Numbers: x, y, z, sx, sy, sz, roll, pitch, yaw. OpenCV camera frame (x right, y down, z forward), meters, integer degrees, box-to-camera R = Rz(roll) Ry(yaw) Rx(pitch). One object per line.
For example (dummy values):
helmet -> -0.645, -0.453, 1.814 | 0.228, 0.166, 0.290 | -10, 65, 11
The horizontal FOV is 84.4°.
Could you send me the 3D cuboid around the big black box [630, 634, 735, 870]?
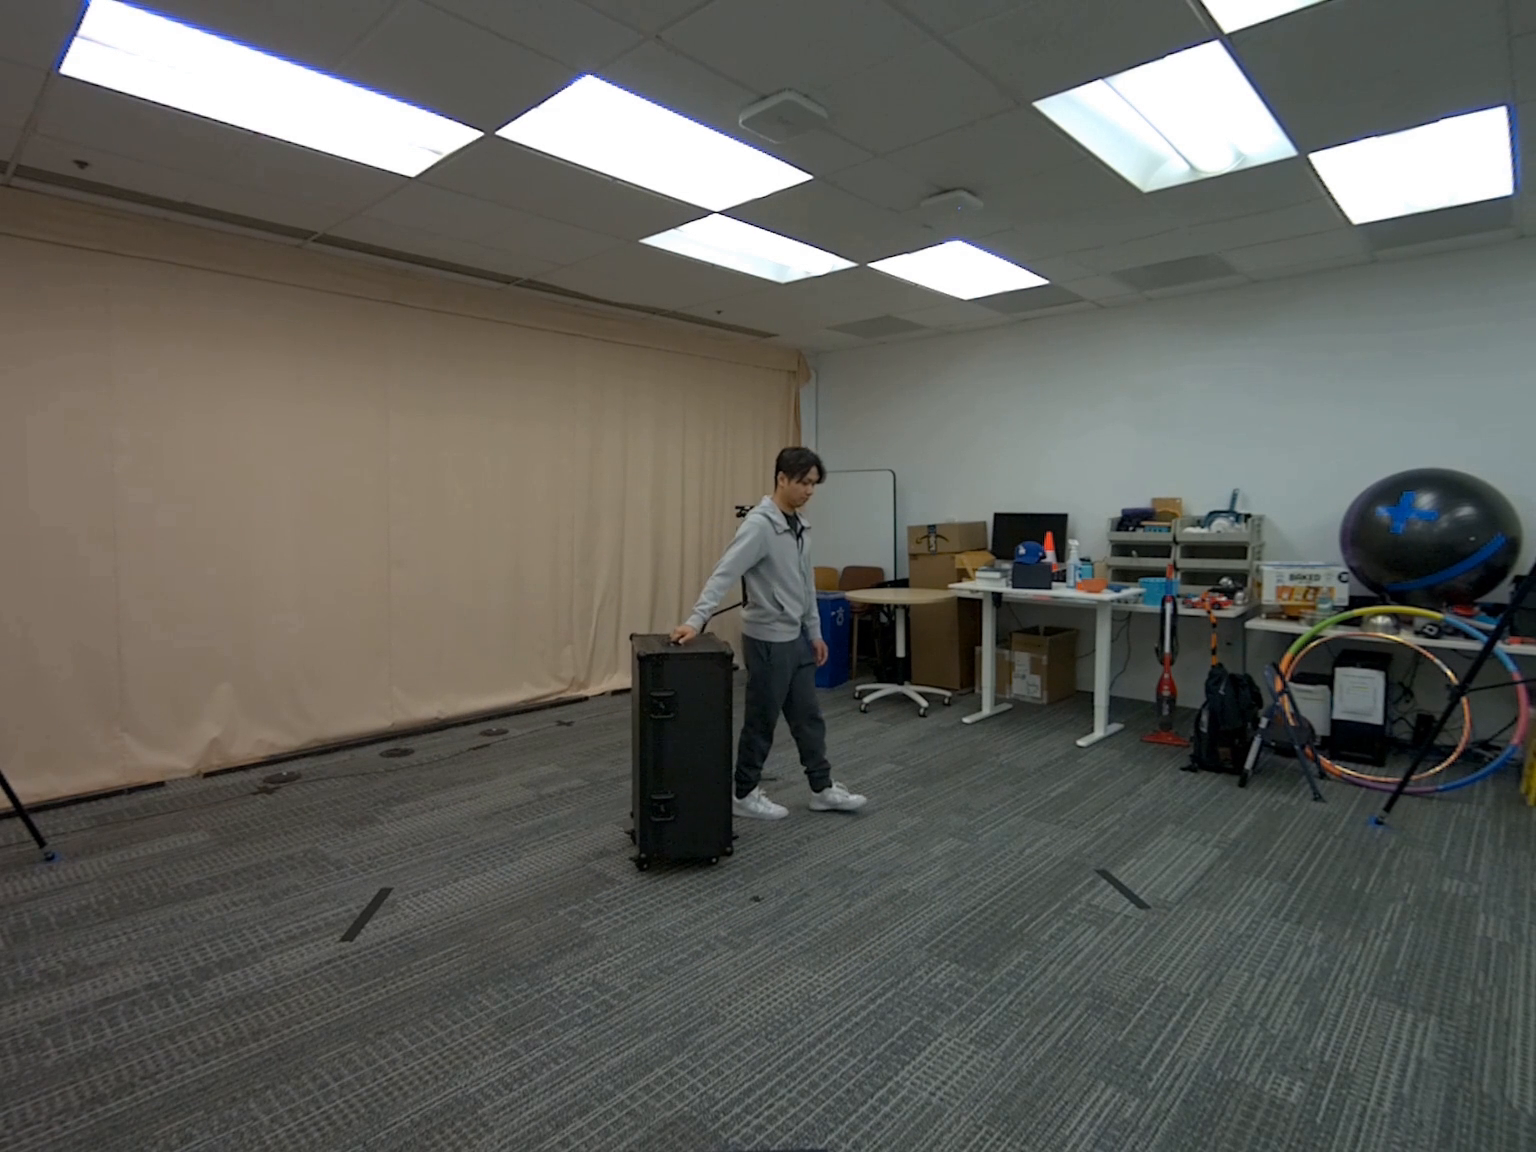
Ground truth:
big black box -> -0.352, 0.688, 3.379 | 0.392, 0.860, 0.527 | 1, 2, -11
